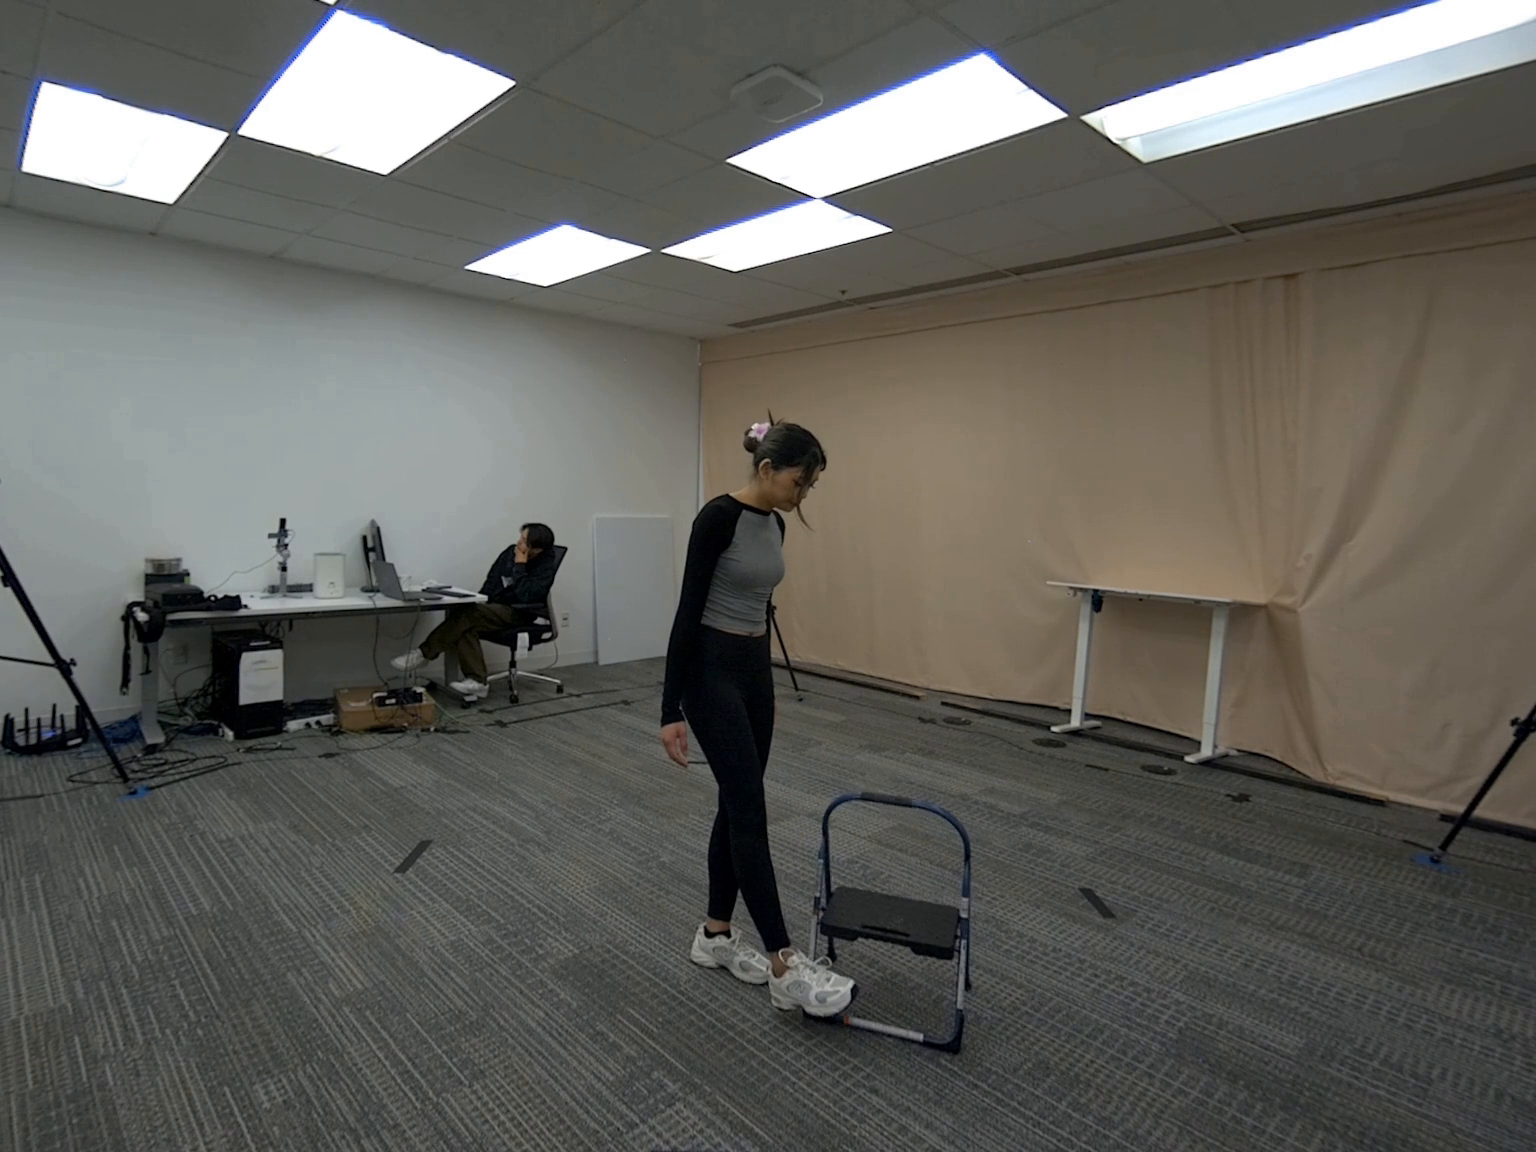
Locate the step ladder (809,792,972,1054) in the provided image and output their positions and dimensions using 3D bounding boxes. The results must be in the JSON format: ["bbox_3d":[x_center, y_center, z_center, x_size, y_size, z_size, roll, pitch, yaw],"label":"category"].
[{"bbox_3d":[0.335,0.891,2.333,0.437,0.605,0.345,3,3,18],"label":"step ladder"}]
